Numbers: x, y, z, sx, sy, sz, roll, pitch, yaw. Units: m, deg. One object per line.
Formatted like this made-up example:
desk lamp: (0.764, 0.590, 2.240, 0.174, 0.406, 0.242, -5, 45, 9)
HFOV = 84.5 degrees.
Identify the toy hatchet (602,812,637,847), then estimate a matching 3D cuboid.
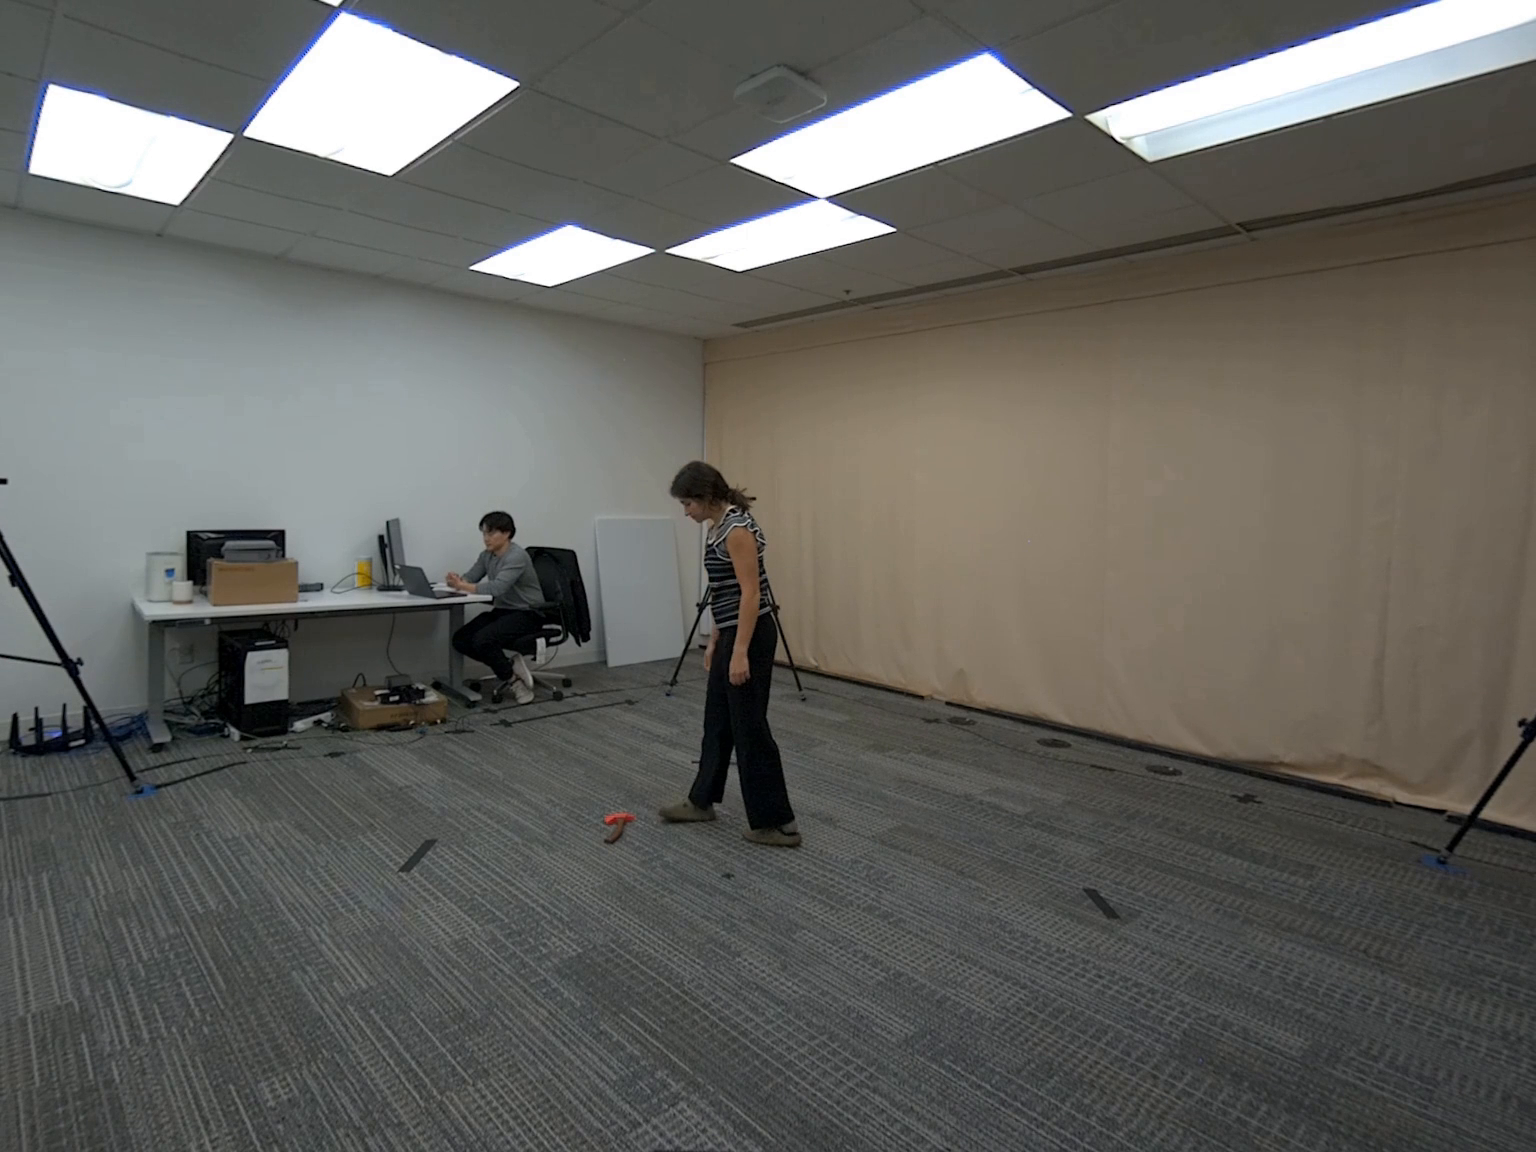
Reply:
toy hatchet: (-0.658, 1.045, 3.503, 0.132, 0.029, 0.268, 4, 6, 12)
